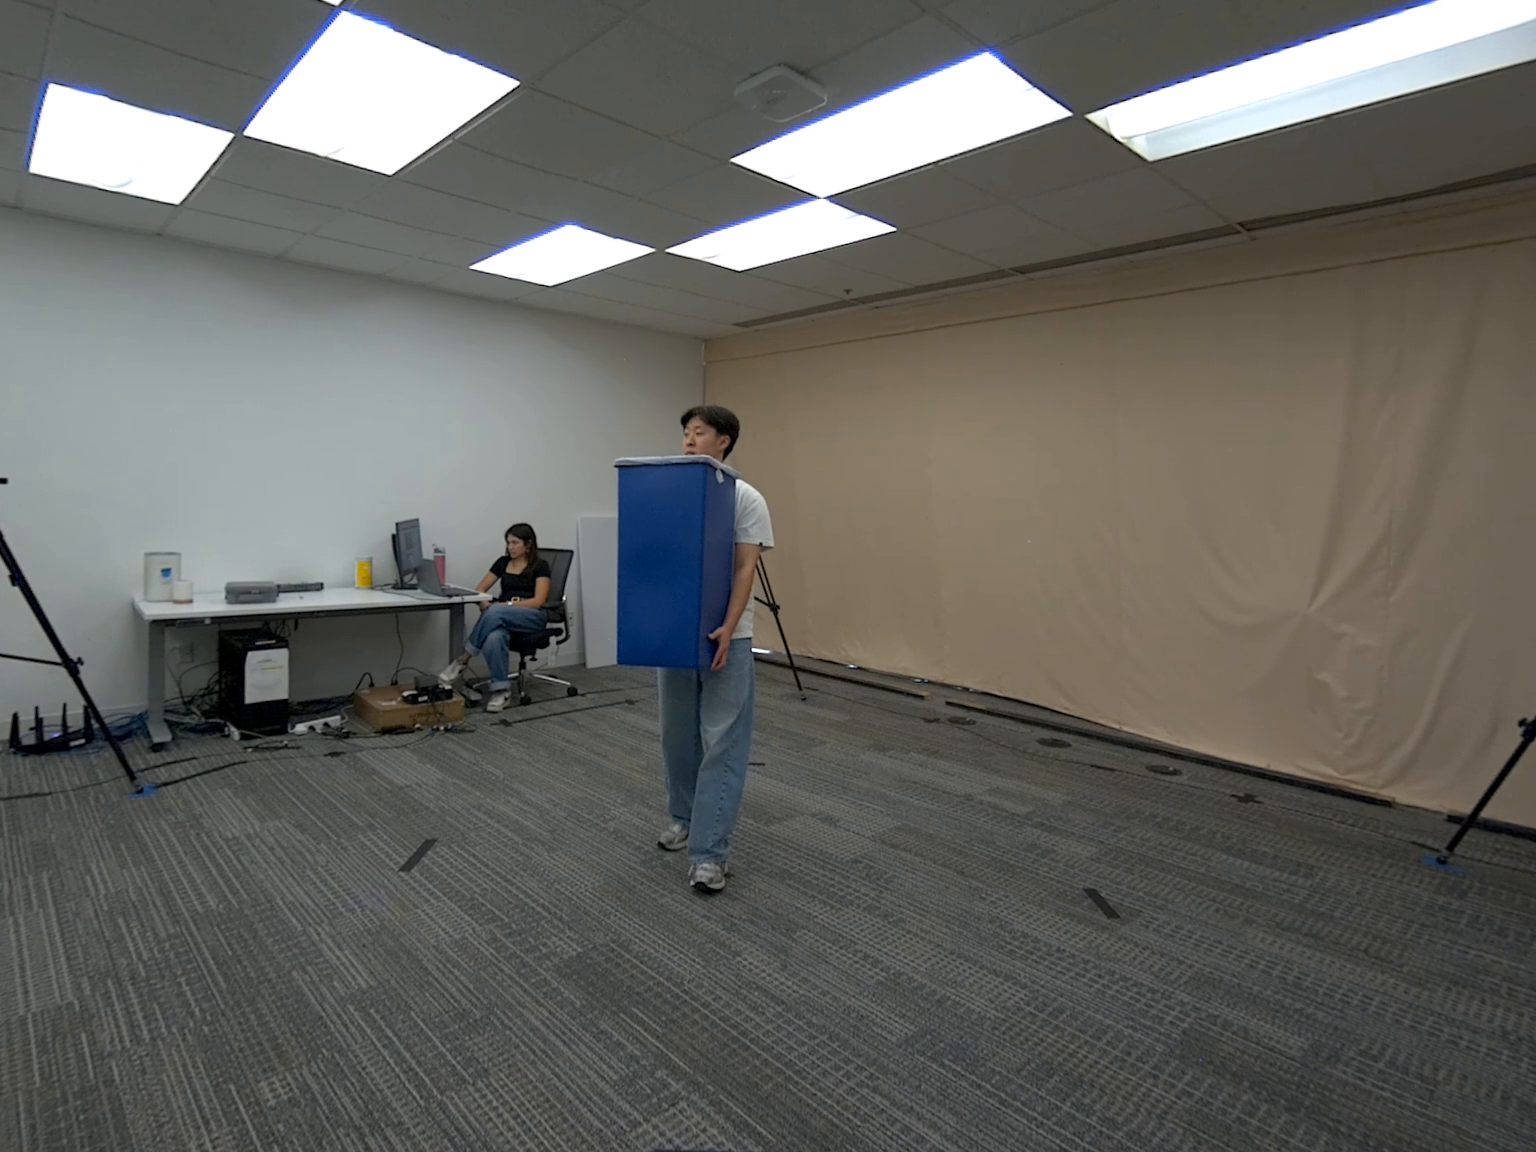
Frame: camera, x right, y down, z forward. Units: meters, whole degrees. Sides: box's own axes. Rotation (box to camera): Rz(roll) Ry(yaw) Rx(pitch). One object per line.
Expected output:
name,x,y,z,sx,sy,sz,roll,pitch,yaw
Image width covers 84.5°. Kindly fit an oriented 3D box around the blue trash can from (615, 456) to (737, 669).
blue trash can,-0.342,-0.043,3.010,0.380,0.716,0.371,1,-6,19
